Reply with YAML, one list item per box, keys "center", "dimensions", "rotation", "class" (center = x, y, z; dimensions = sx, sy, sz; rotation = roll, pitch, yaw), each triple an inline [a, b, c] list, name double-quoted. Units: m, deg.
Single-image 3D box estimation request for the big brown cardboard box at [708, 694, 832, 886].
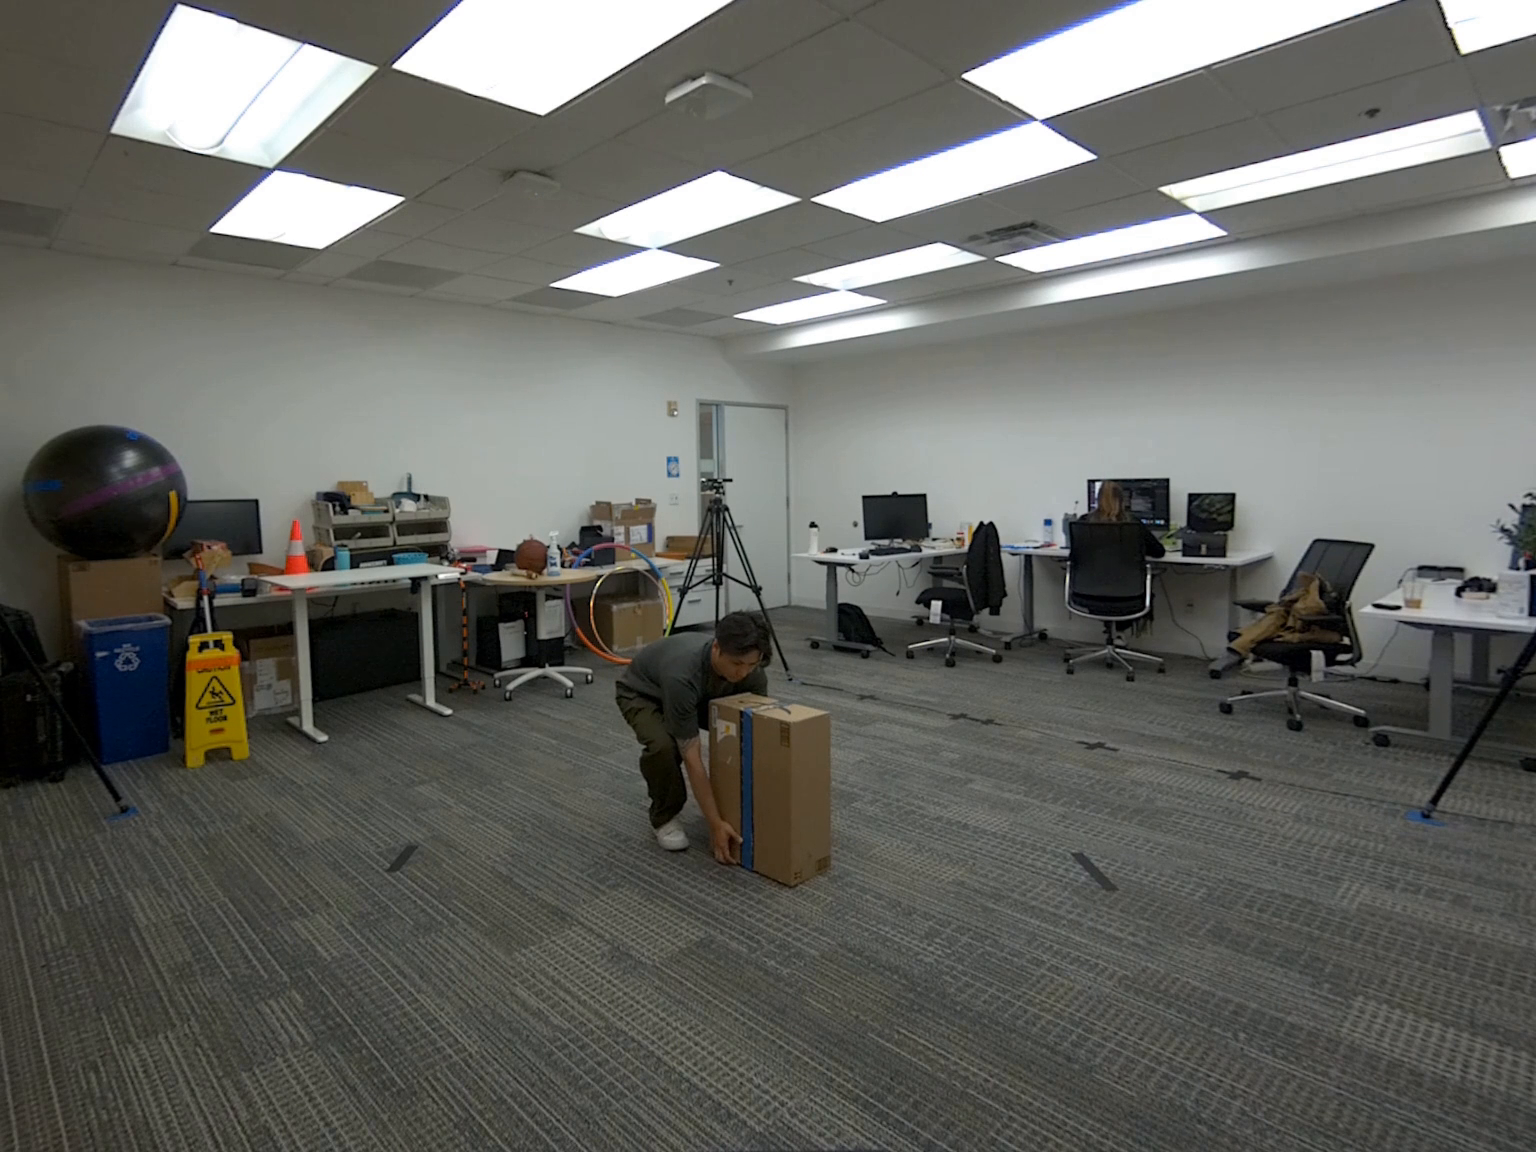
- center: [0.005, 0.756, 3.115]
  dimensions: [0.227, 0.588, 0.430]
  rotation: [-3, 3, -44]
  class: "big brown cardboard box"
